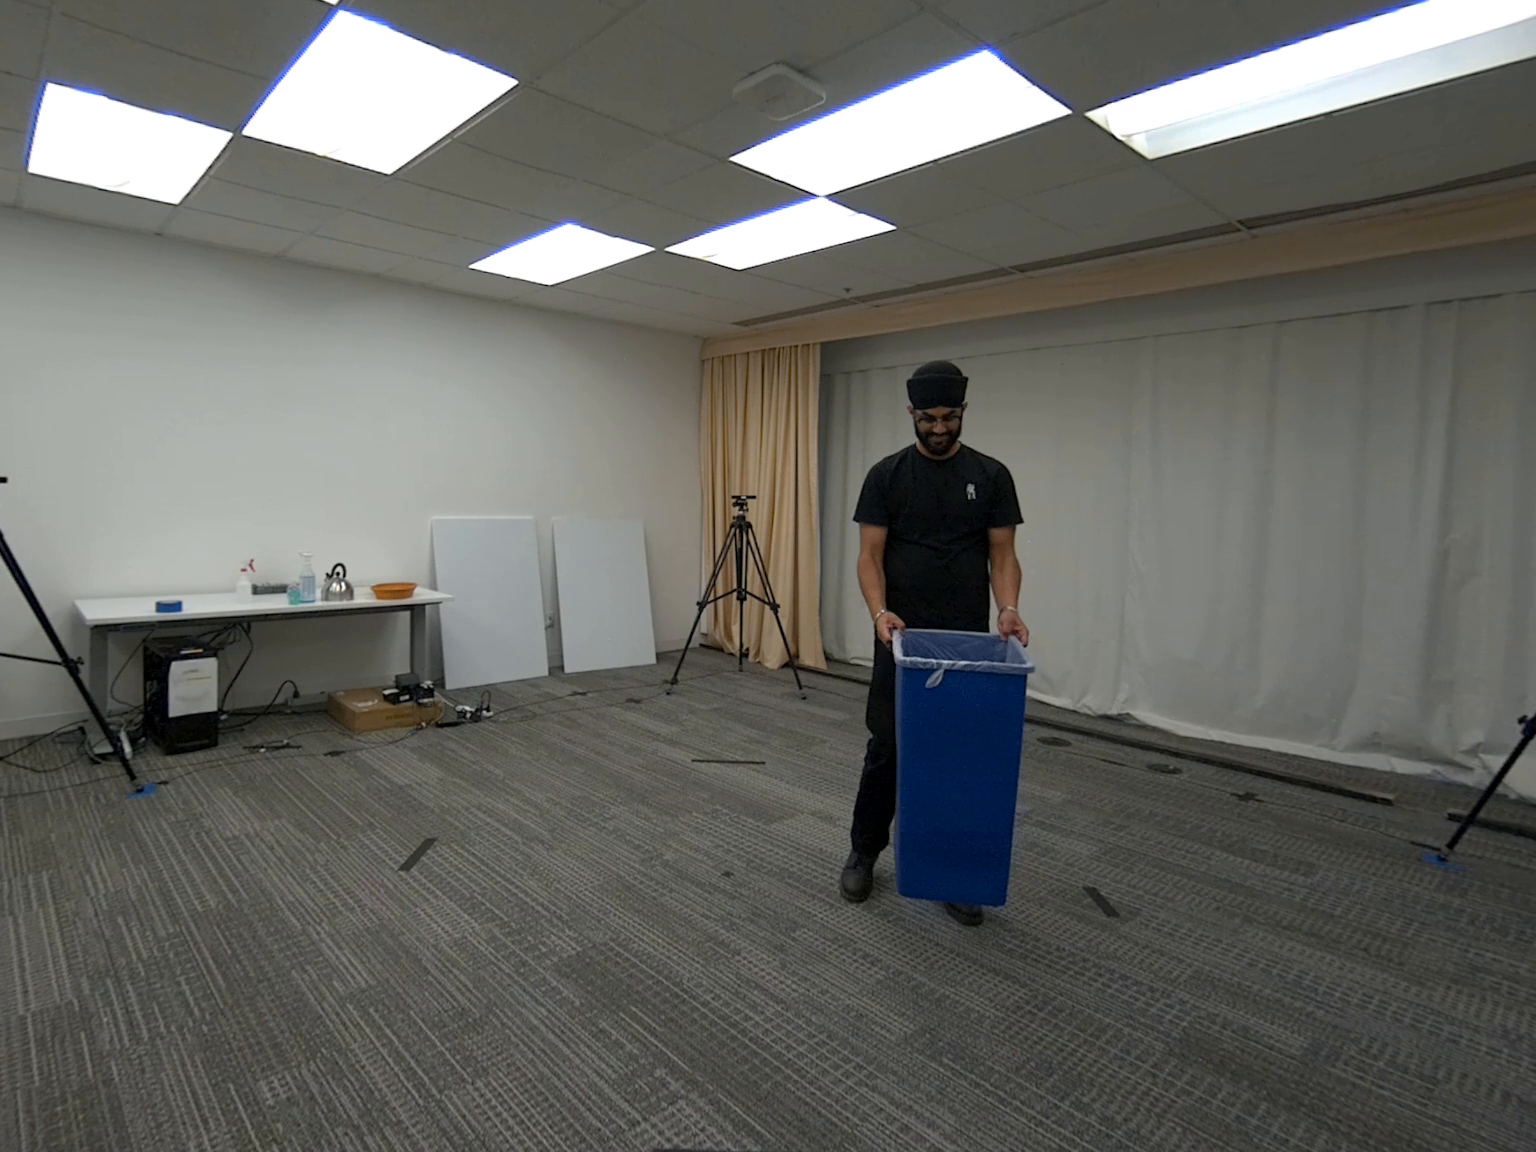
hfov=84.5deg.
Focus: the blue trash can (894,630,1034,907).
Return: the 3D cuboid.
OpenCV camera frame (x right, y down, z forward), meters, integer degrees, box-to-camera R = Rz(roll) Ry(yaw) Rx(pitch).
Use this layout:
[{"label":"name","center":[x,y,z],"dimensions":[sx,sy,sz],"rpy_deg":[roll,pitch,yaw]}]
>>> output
[{"label":"blue trash can","center":[0.543,0.556,2.497],"dimensions":[0.382,0.709,0.373],"rpy_deg":[3,9,10]}]
